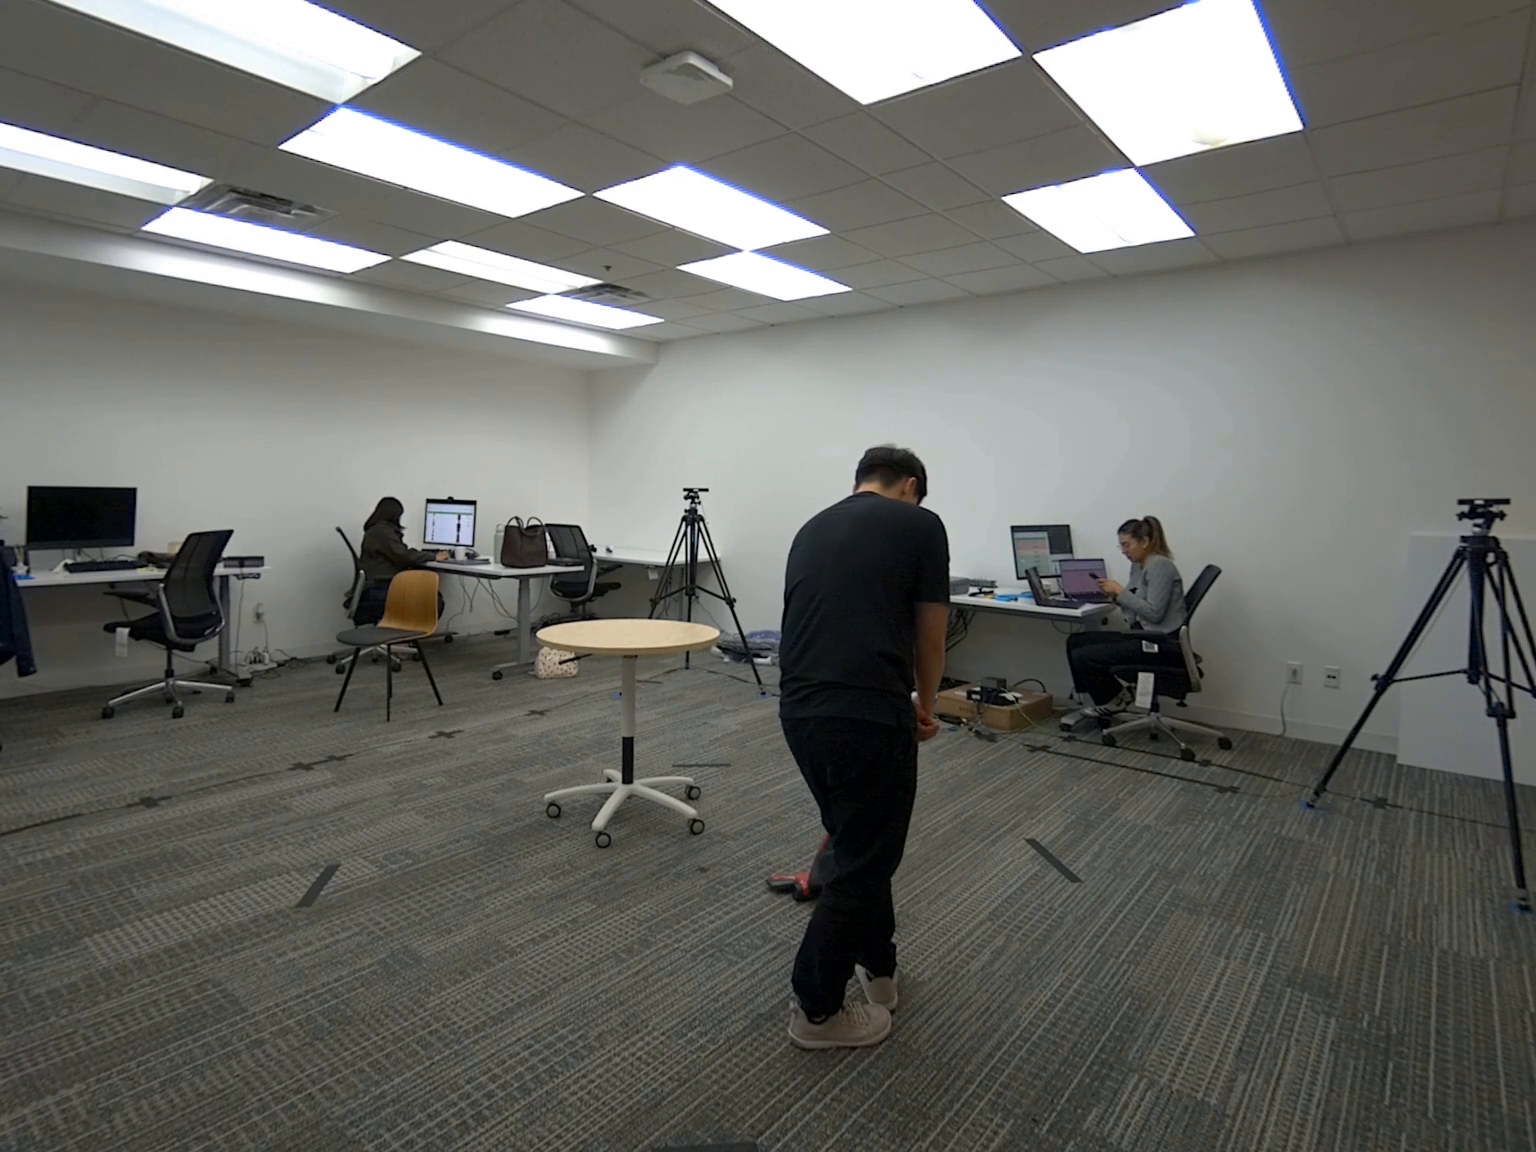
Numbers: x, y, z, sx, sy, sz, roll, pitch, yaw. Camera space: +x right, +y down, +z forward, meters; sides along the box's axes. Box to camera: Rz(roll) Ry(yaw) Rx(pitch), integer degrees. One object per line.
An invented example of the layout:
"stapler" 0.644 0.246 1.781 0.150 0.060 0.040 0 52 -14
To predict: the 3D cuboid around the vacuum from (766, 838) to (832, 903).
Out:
"vacuum" 0.272 0.741 2.612 0.247 0.149 1.034 1 -41 -22
